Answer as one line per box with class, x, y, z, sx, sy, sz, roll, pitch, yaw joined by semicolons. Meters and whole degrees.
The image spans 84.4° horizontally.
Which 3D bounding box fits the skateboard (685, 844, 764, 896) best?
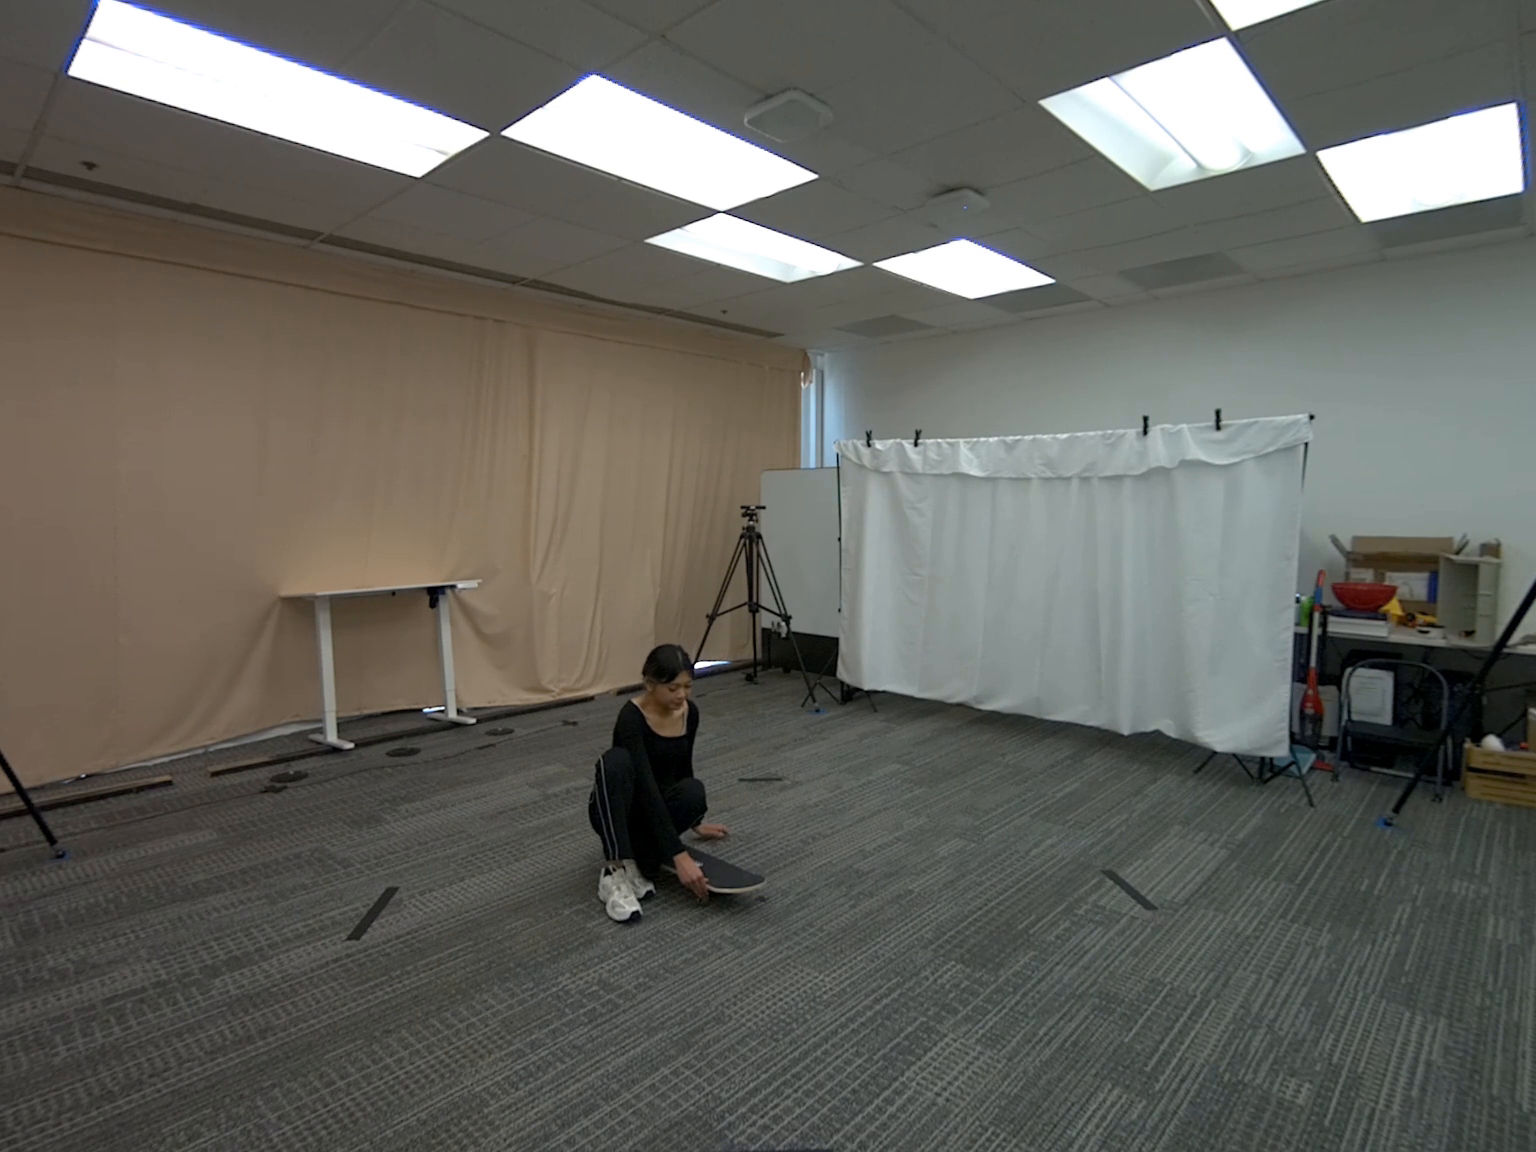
skateboard;-0.321;1.077;3.126;0.812;0.110;0.187;3;2;44
